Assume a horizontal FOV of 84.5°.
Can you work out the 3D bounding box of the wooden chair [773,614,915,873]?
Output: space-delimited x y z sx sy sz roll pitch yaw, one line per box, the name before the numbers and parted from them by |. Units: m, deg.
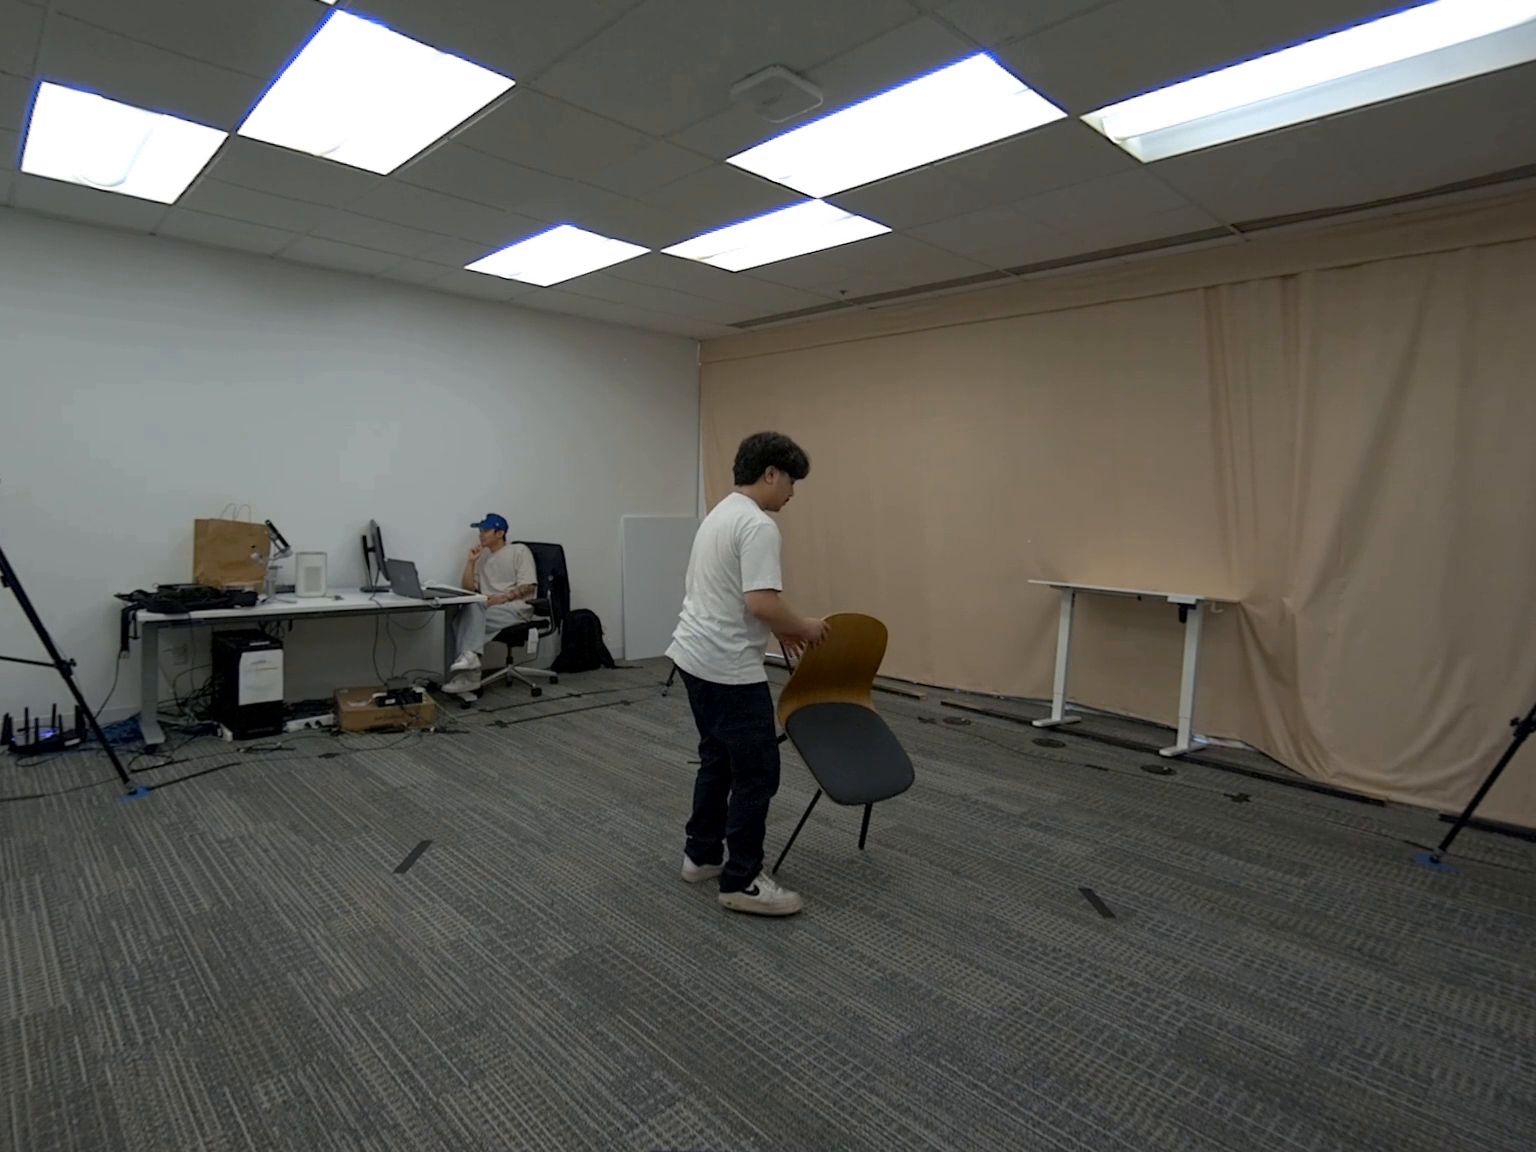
wooden chair | 0.258 0.640 3.160 0.467 0.869 0.540 0 38 -35
